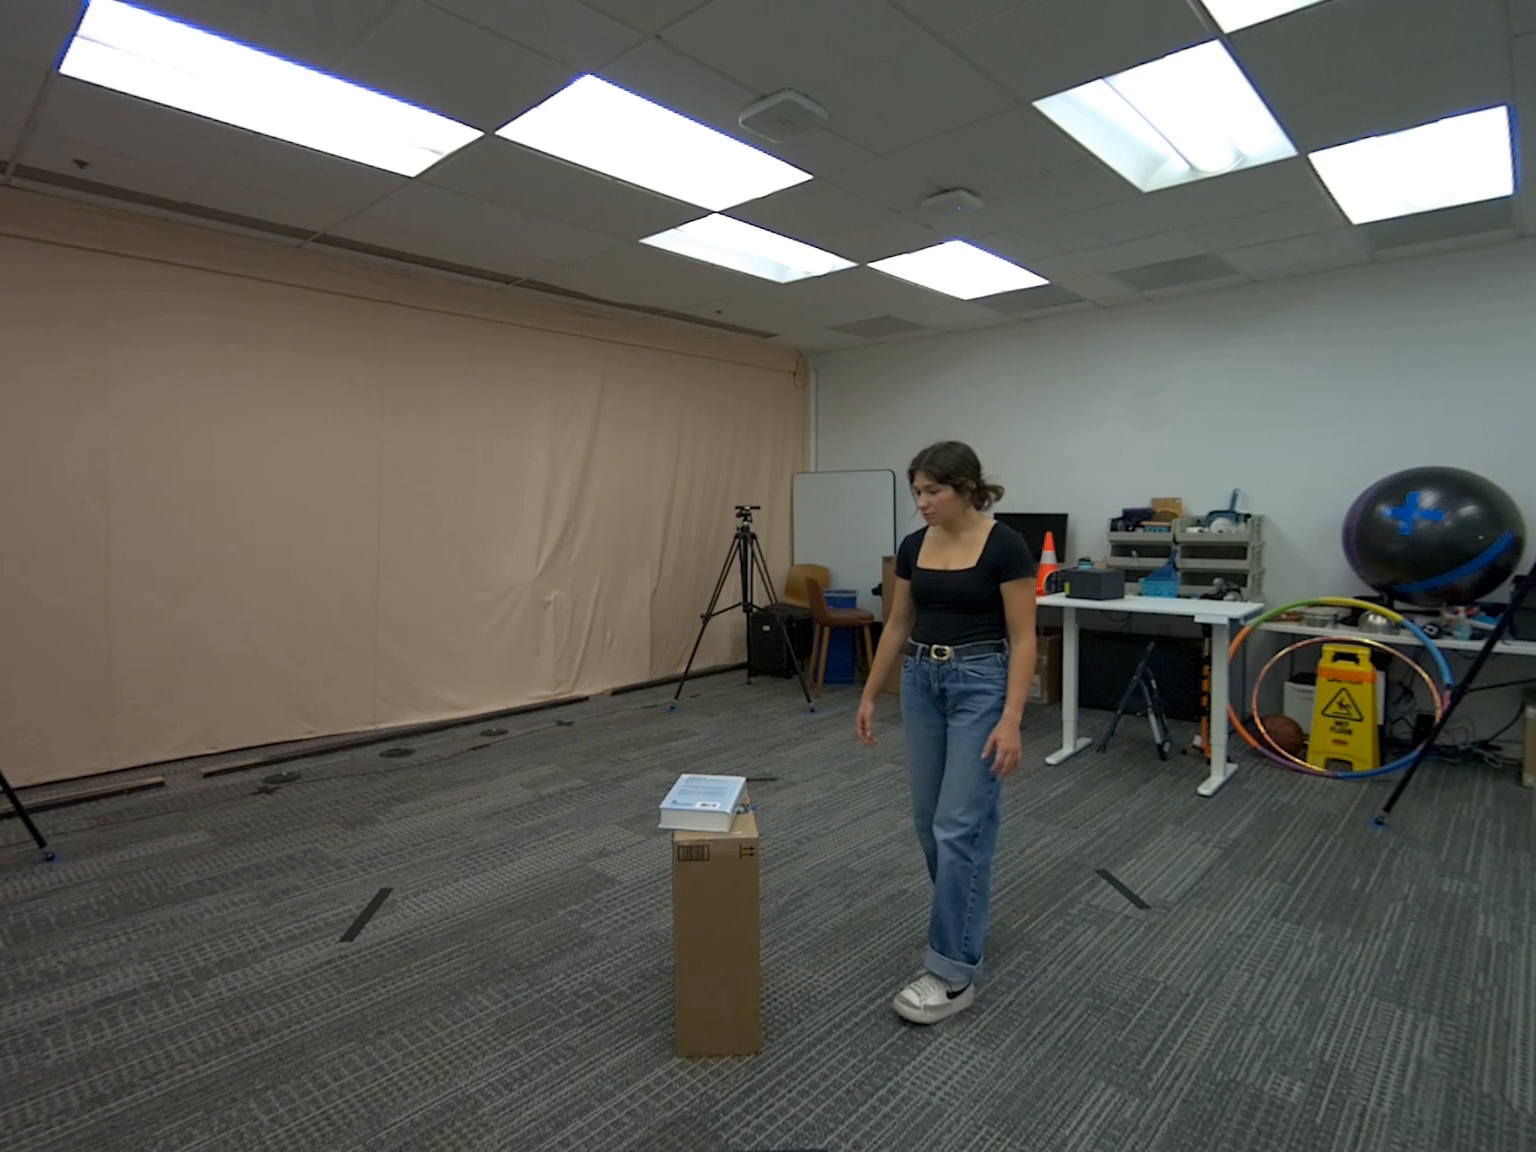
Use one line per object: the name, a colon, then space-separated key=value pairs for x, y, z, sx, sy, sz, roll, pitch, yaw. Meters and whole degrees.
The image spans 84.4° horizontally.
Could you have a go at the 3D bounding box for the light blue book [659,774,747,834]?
light blue book: x=-0.165 y=0.620 z=2.273 sx=0.193 sy=0.059 sz=0.259 roll=0 pitch=5 yaw=9
